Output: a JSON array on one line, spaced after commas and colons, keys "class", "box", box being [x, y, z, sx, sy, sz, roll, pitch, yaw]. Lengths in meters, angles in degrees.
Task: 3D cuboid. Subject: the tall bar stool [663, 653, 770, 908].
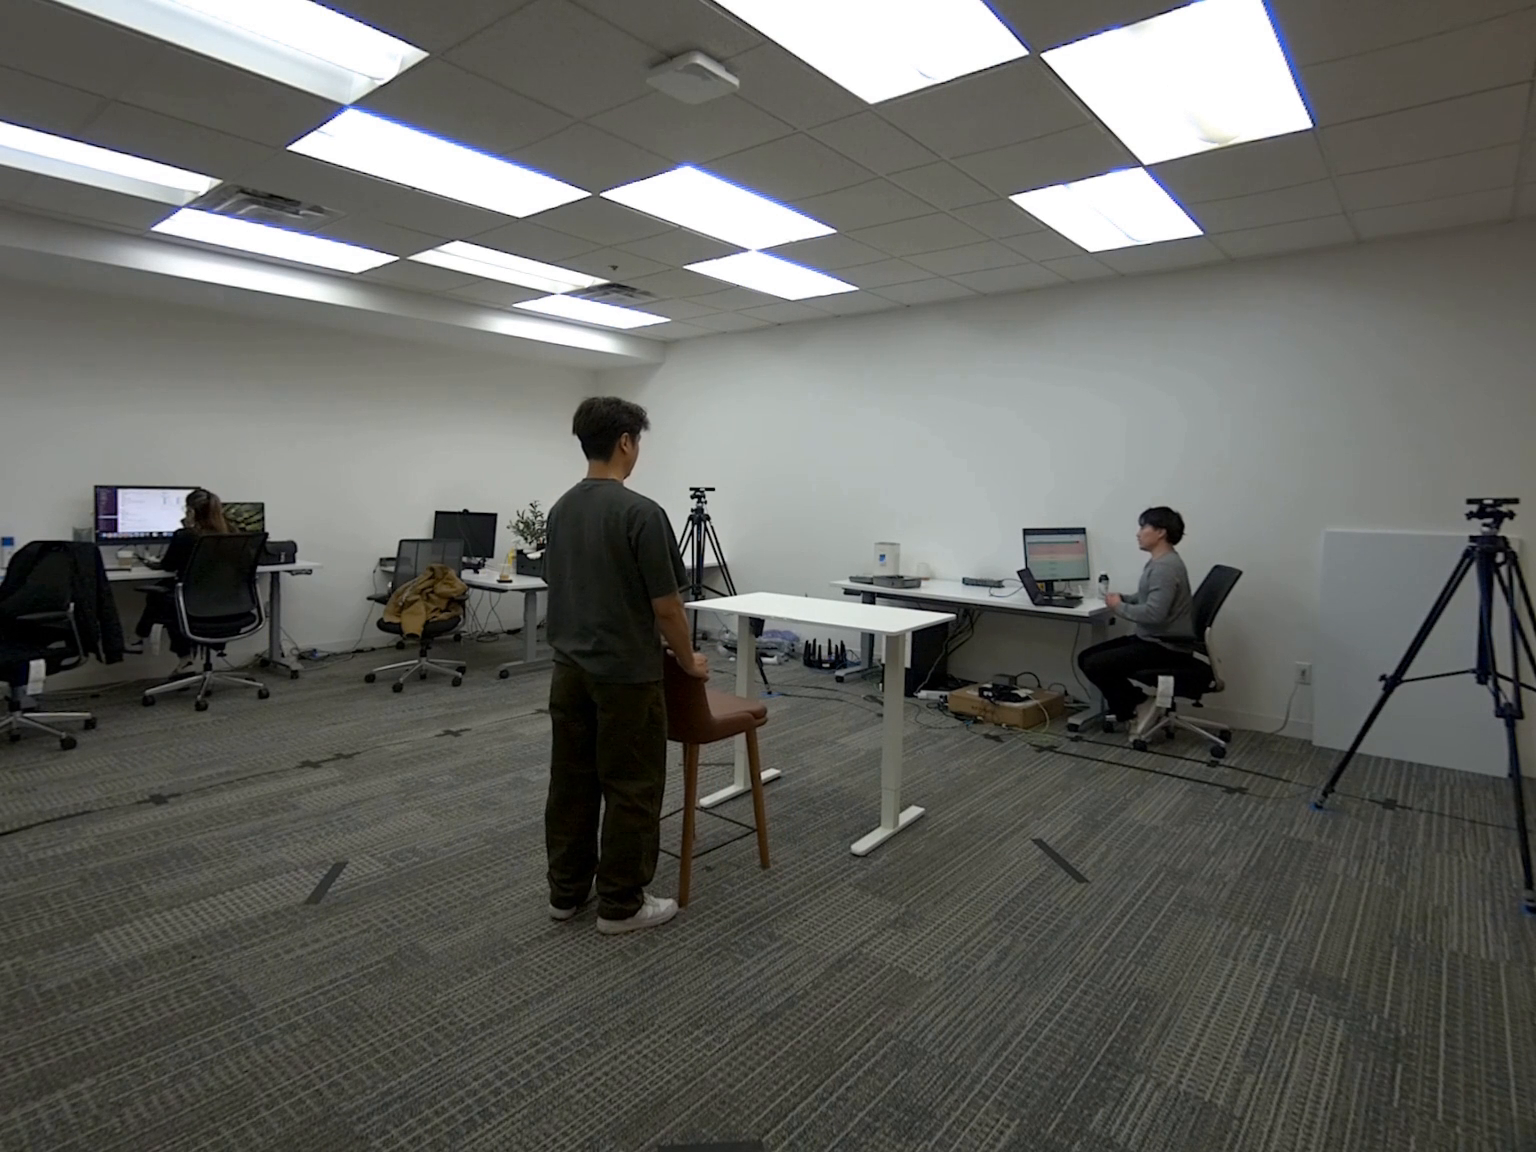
[{"class": "tall bar stool", "box": [-0.295, 0.632, 3.067, 0.472, 0.886, 0.454, 4, 6, 40]}]
